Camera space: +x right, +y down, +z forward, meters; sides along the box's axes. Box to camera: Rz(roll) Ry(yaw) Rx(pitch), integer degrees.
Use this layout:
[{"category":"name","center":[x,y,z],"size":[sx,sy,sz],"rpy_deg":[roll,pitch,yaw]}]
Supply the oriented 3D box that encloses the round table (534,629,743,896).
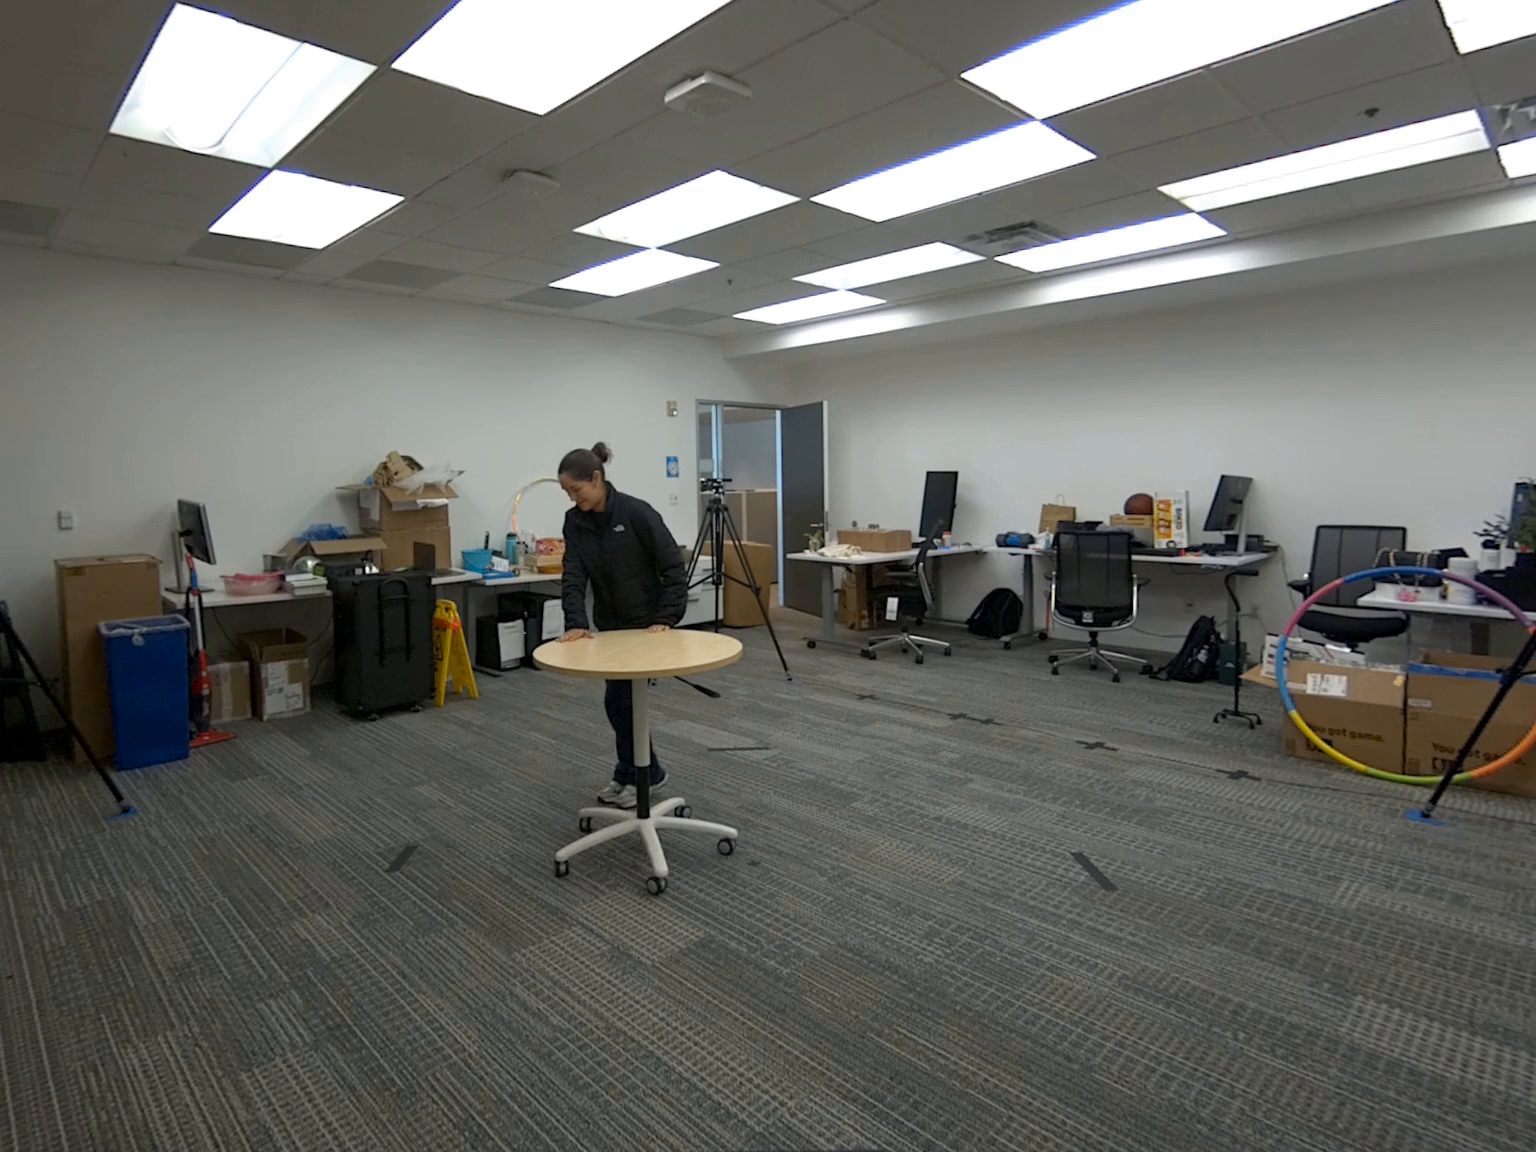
[{"category":"round table","center":[-0.481,0.651,3.207],"size":[0.784,0.783,0.789],"rpy_deg":[-1,5,-2]}]
